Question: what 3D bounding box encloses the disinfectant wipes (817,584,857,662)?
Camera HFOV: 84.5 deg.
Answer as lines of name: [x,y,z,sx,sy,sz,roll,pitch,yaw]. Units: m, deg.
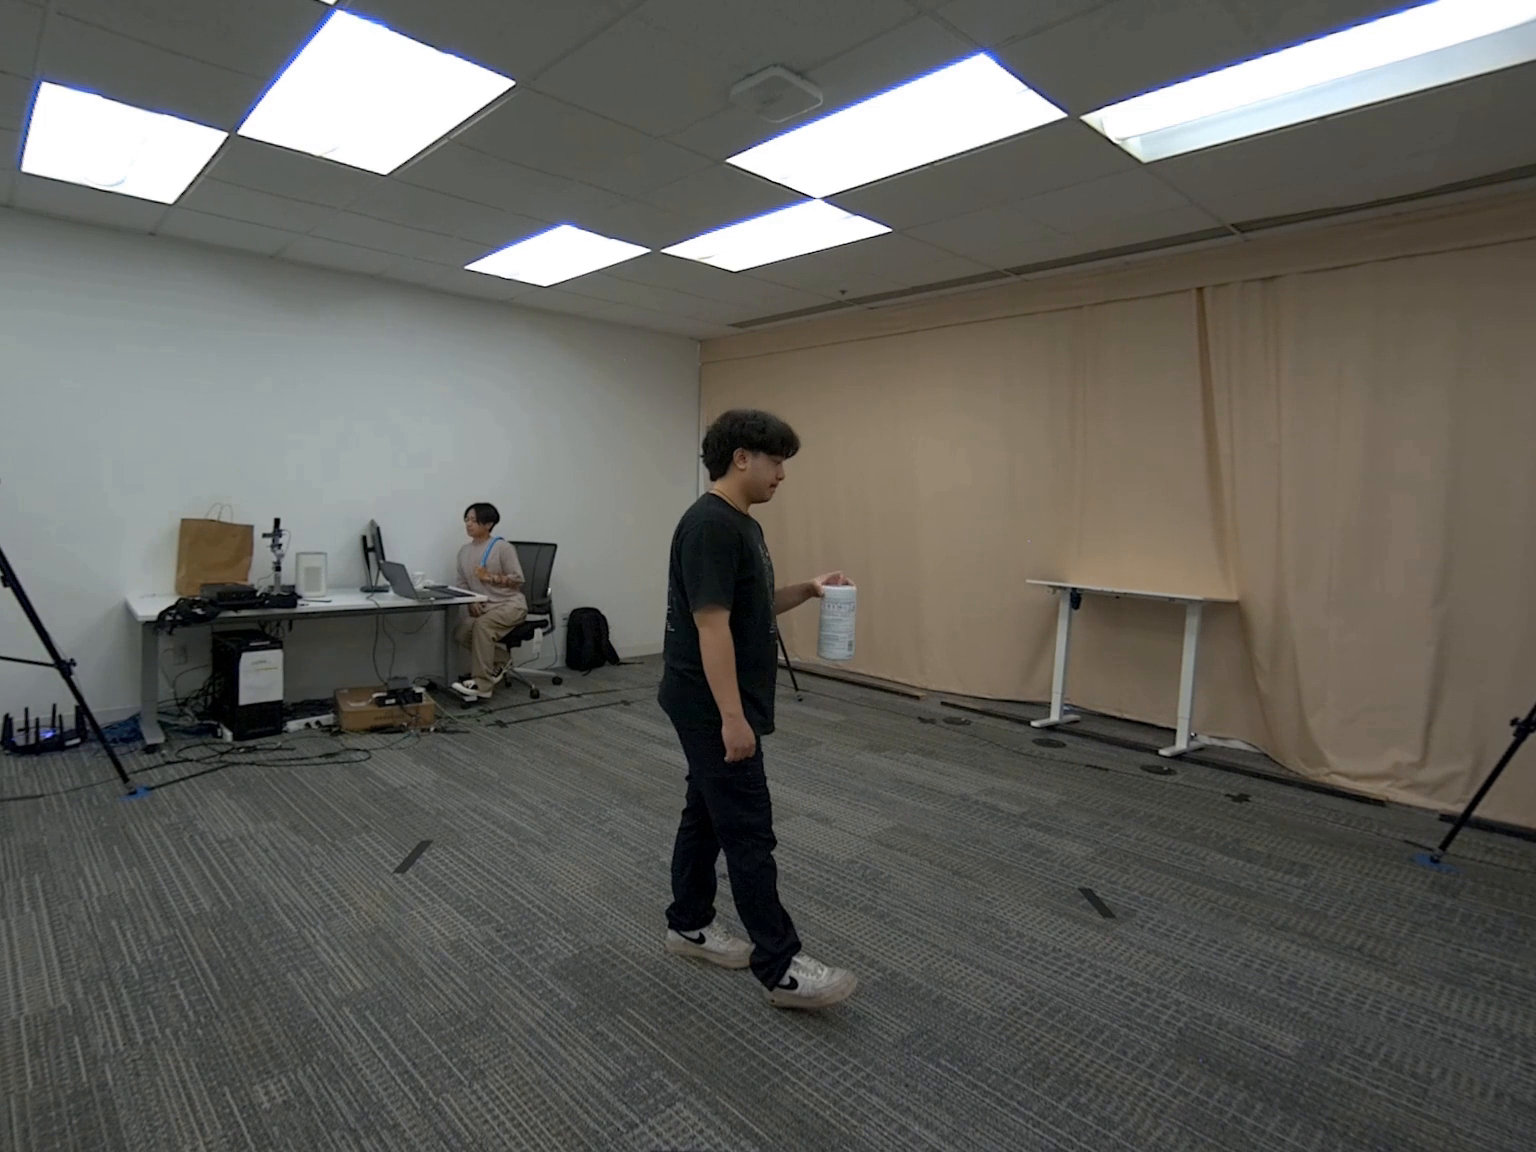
disinfectant wipes: [0.192,0.141,2.502,0.118,0.217,0.118,2,3,-2]
